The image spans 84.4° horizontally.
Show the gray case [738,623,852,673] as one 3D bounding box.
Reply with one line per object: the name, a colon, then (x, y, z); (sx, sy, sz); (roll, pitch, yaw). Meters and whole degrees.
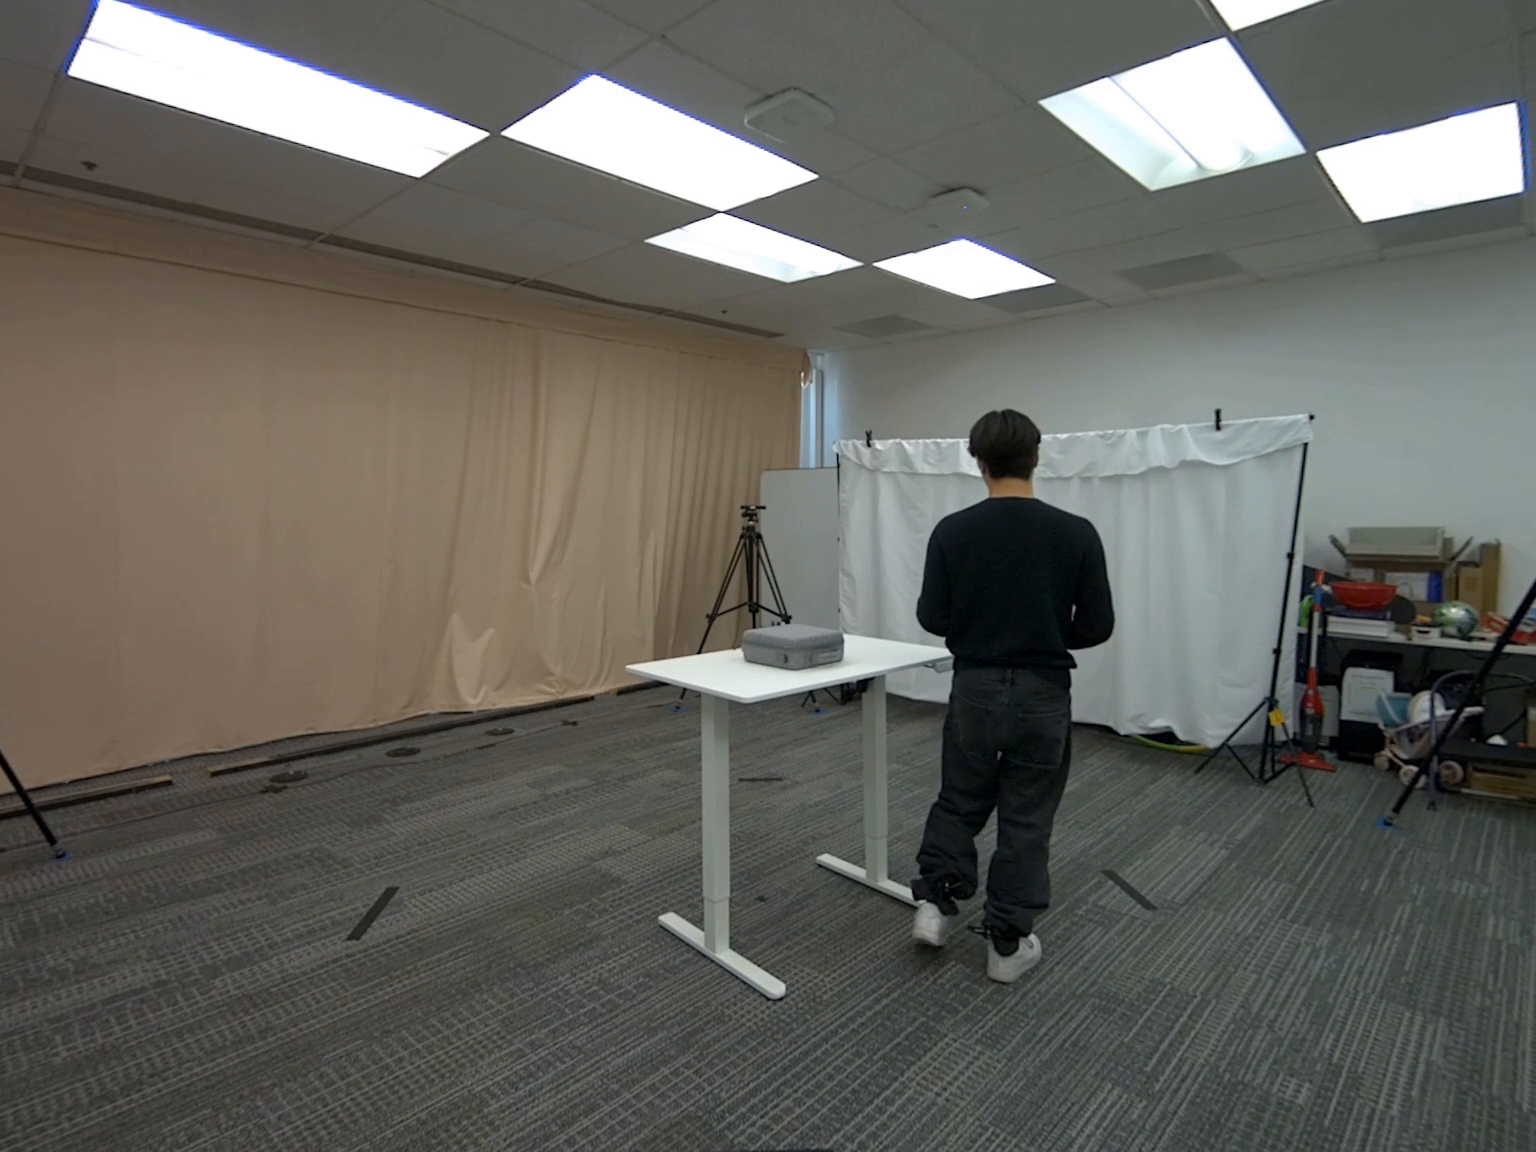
gray case: (0.085, 0.226, 2.754); (0.249, 0.104, 0.269); (-3, 5, -40)
